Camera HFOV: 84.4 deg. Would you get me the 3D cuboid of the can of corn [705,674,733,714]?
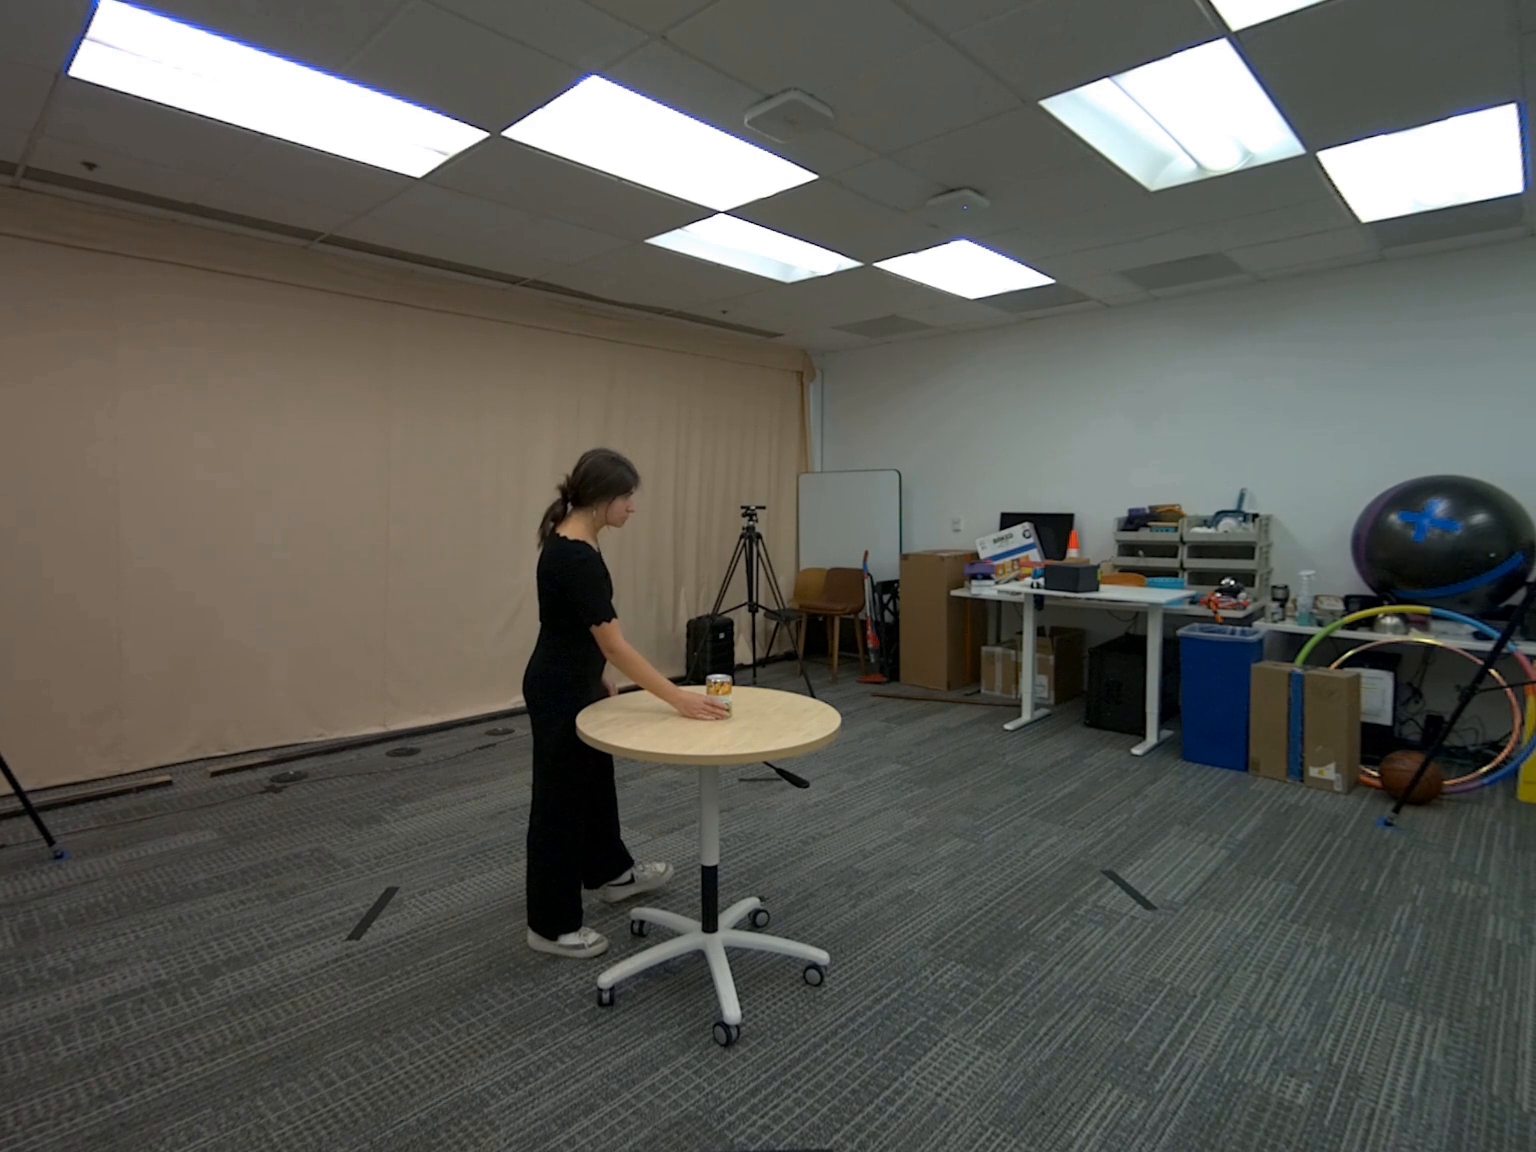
[{"bbox_3d":[-0.135,0.350,2.436,0.074,0.111,0.074,-1,4,-2],"label":"can of corn"}]
